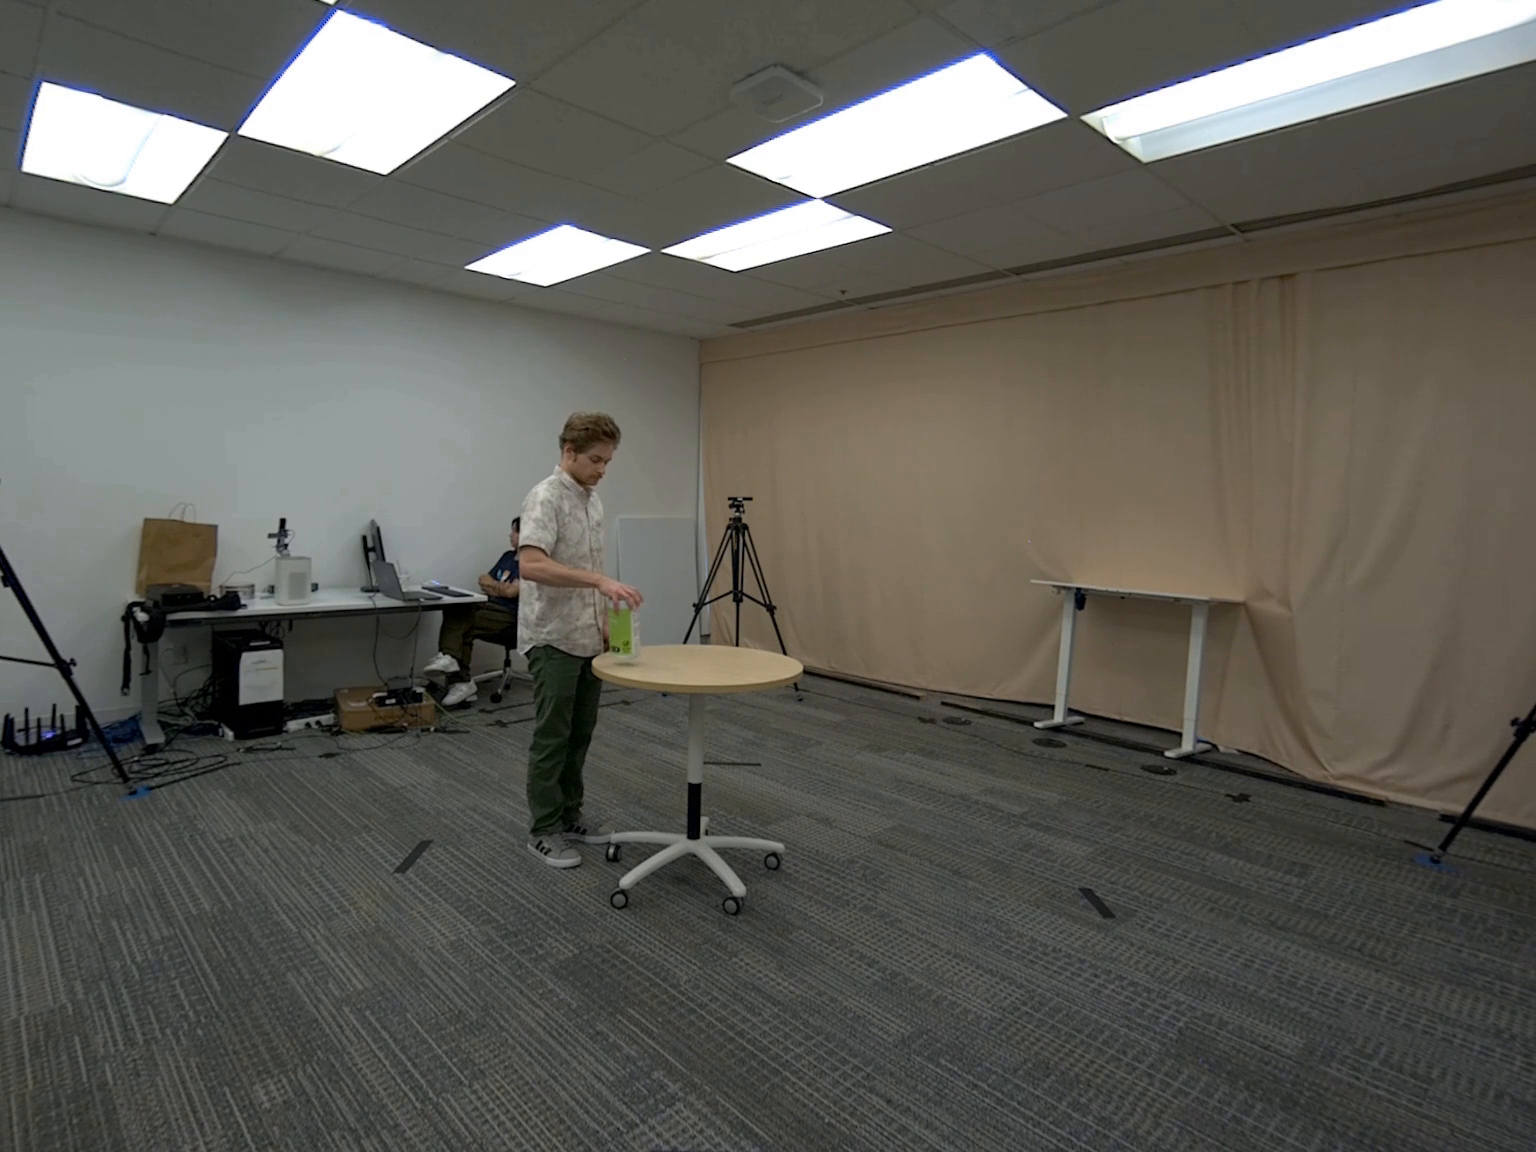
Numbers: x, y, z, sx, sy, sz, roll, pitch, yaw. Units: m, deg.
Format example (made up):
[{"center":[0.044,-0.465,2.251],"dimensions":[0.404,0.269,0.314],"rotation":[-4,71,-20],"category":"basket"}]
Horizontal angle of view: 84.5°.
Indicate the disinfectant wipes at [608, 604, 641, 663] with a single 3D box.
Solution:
[{"center":[-0.515,0.180,2.971],"dimensions":[0.118,0.216,0.119],"rotation":[-2,10,-1],"category":"disinfectant wipes"}]
